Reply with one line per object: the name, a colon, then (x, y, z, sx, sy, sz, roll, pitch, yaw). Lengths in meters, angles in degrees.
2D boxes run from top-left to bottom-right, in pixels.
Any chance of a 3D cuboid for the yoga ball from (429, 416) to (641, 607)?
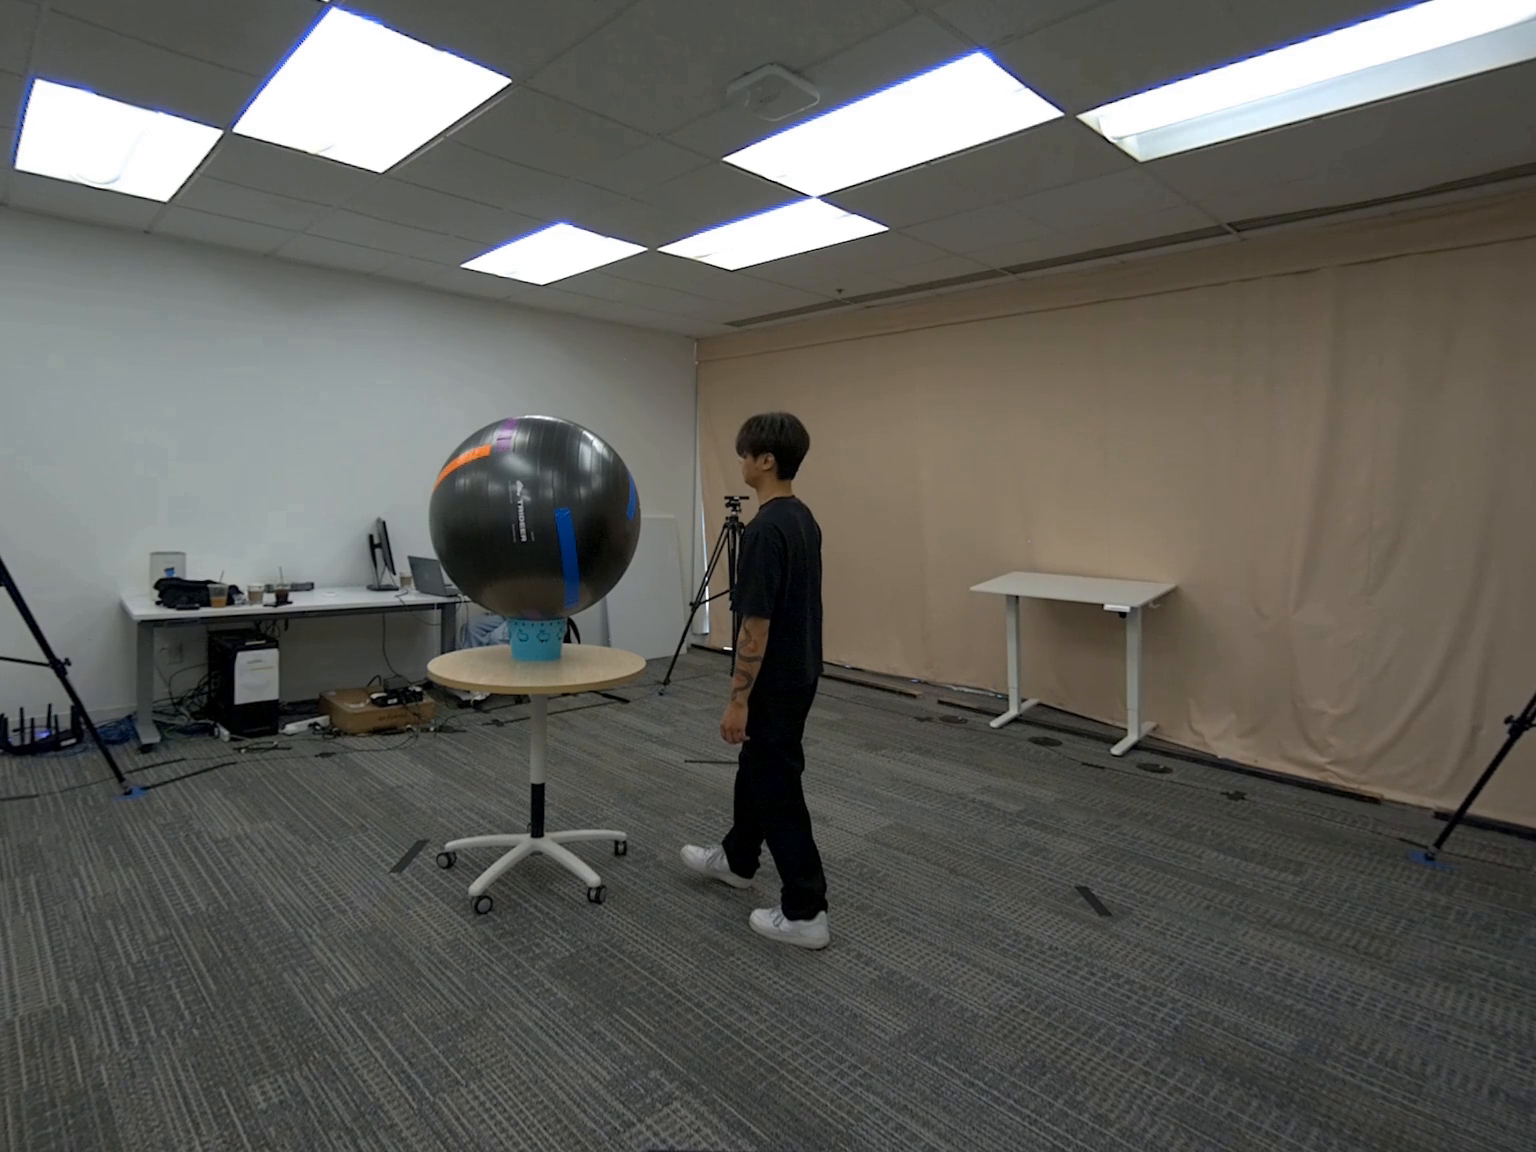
yoga ball: (-0.858, -0.208, 3.115, 0.757, 0.756, 0.761, 1, 4, -1)
